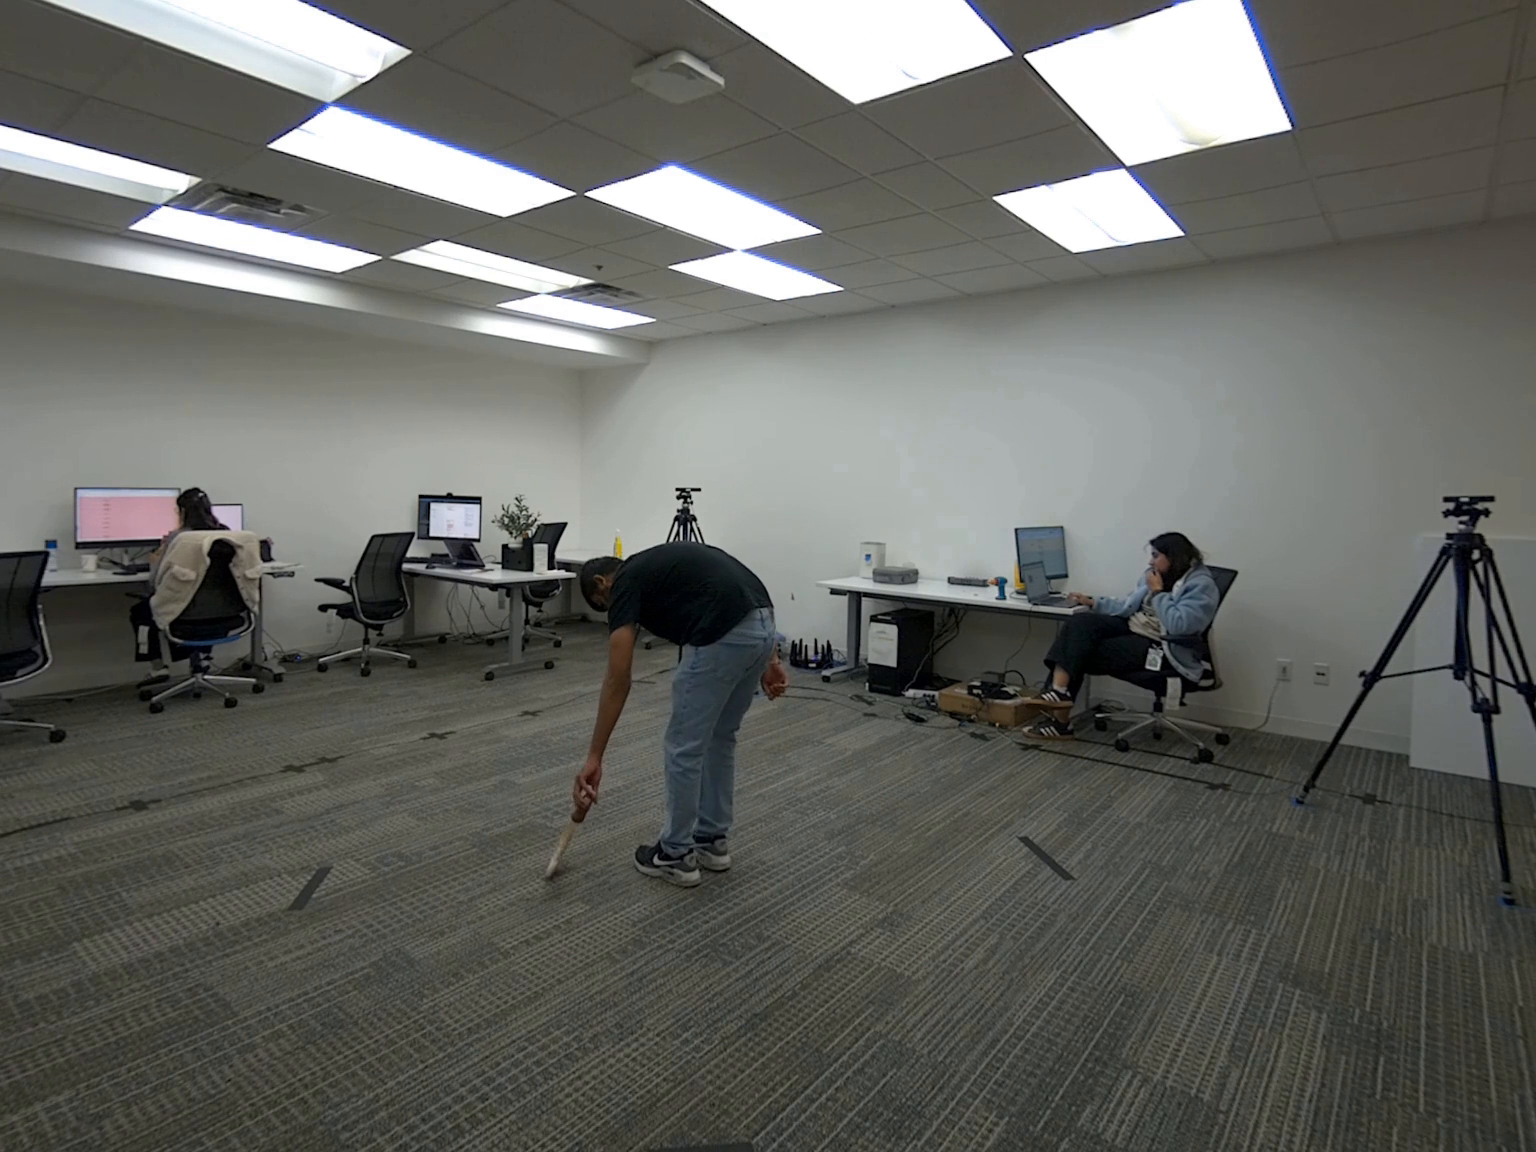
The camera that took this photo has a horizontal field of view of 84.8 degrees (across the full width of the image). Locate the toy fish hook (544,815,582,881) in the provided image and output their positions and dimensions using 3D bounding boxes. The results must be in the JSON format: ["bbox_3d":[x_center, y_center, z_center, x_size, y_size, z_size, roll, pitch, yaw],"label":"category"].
[{"bbox_3d":[-0.696,0.896,2.924,0.048,0.228,0.501,22,-44,-7],"label":"toy fish hook"}]
